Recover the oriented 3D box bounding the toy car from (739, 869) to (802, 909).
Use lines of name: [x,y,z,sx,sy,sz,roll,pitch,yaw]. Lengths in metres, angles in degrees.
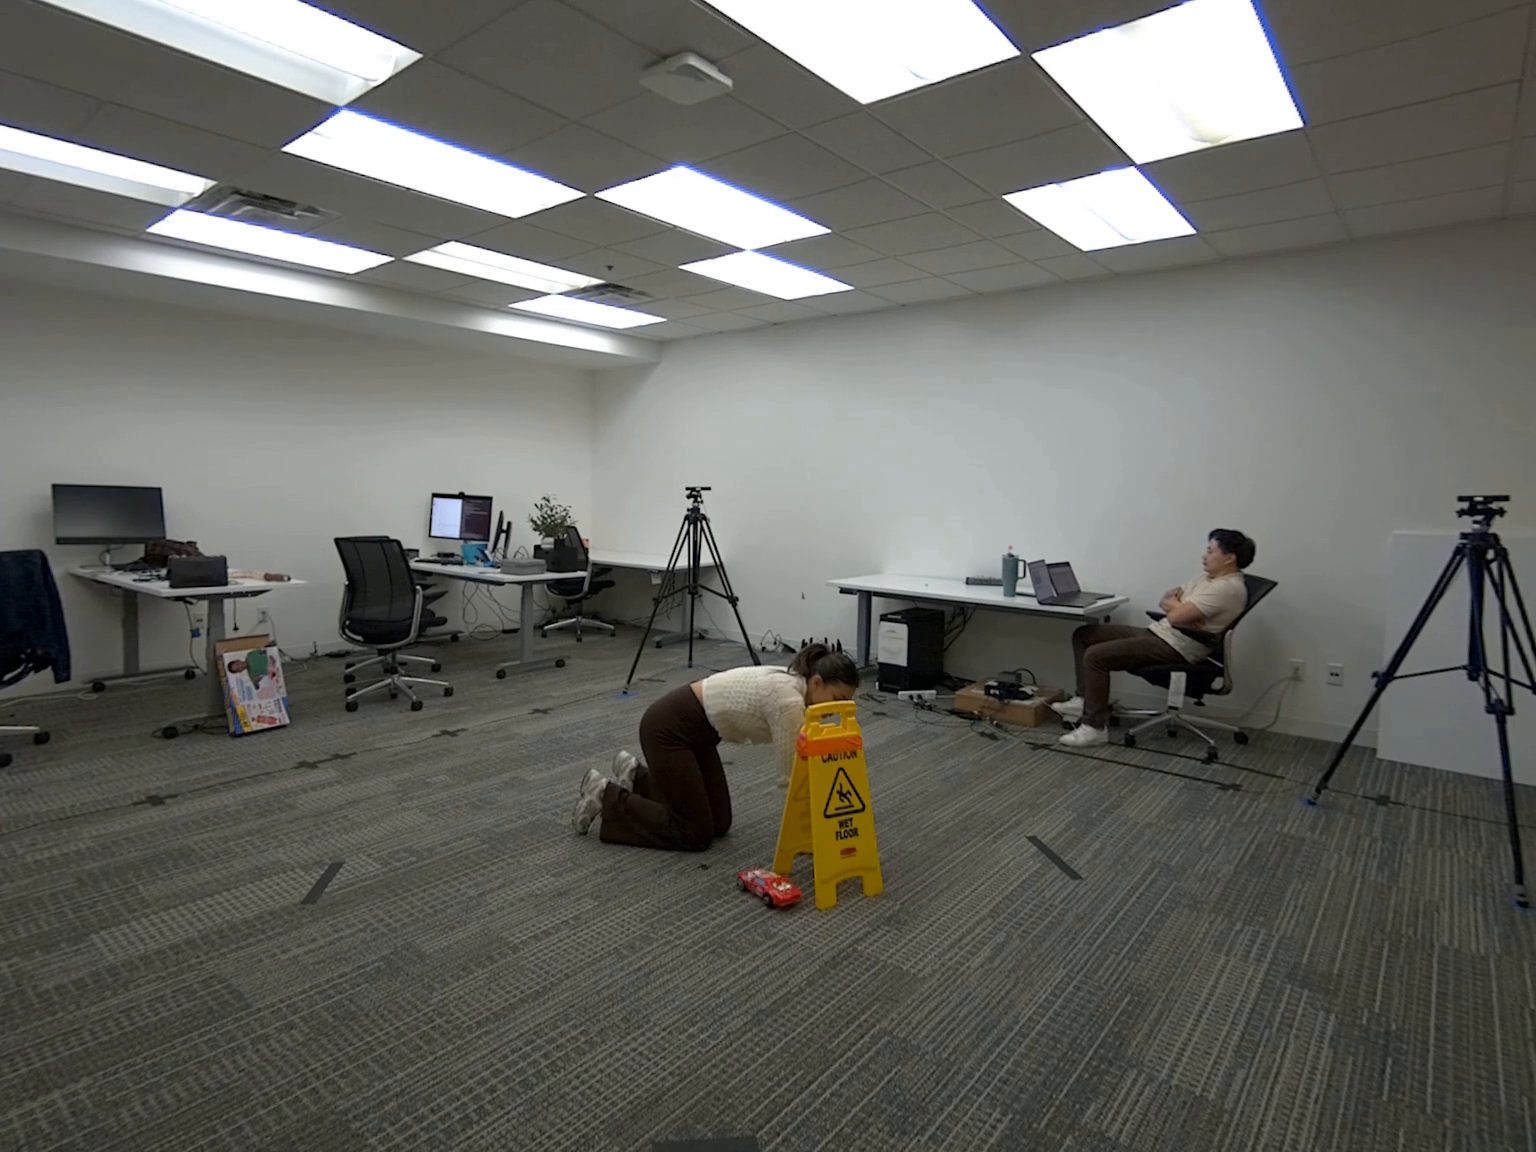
toy car: [0.012,1.059,2.896,0.126,0.084,0.260,-3,-4,-37]
